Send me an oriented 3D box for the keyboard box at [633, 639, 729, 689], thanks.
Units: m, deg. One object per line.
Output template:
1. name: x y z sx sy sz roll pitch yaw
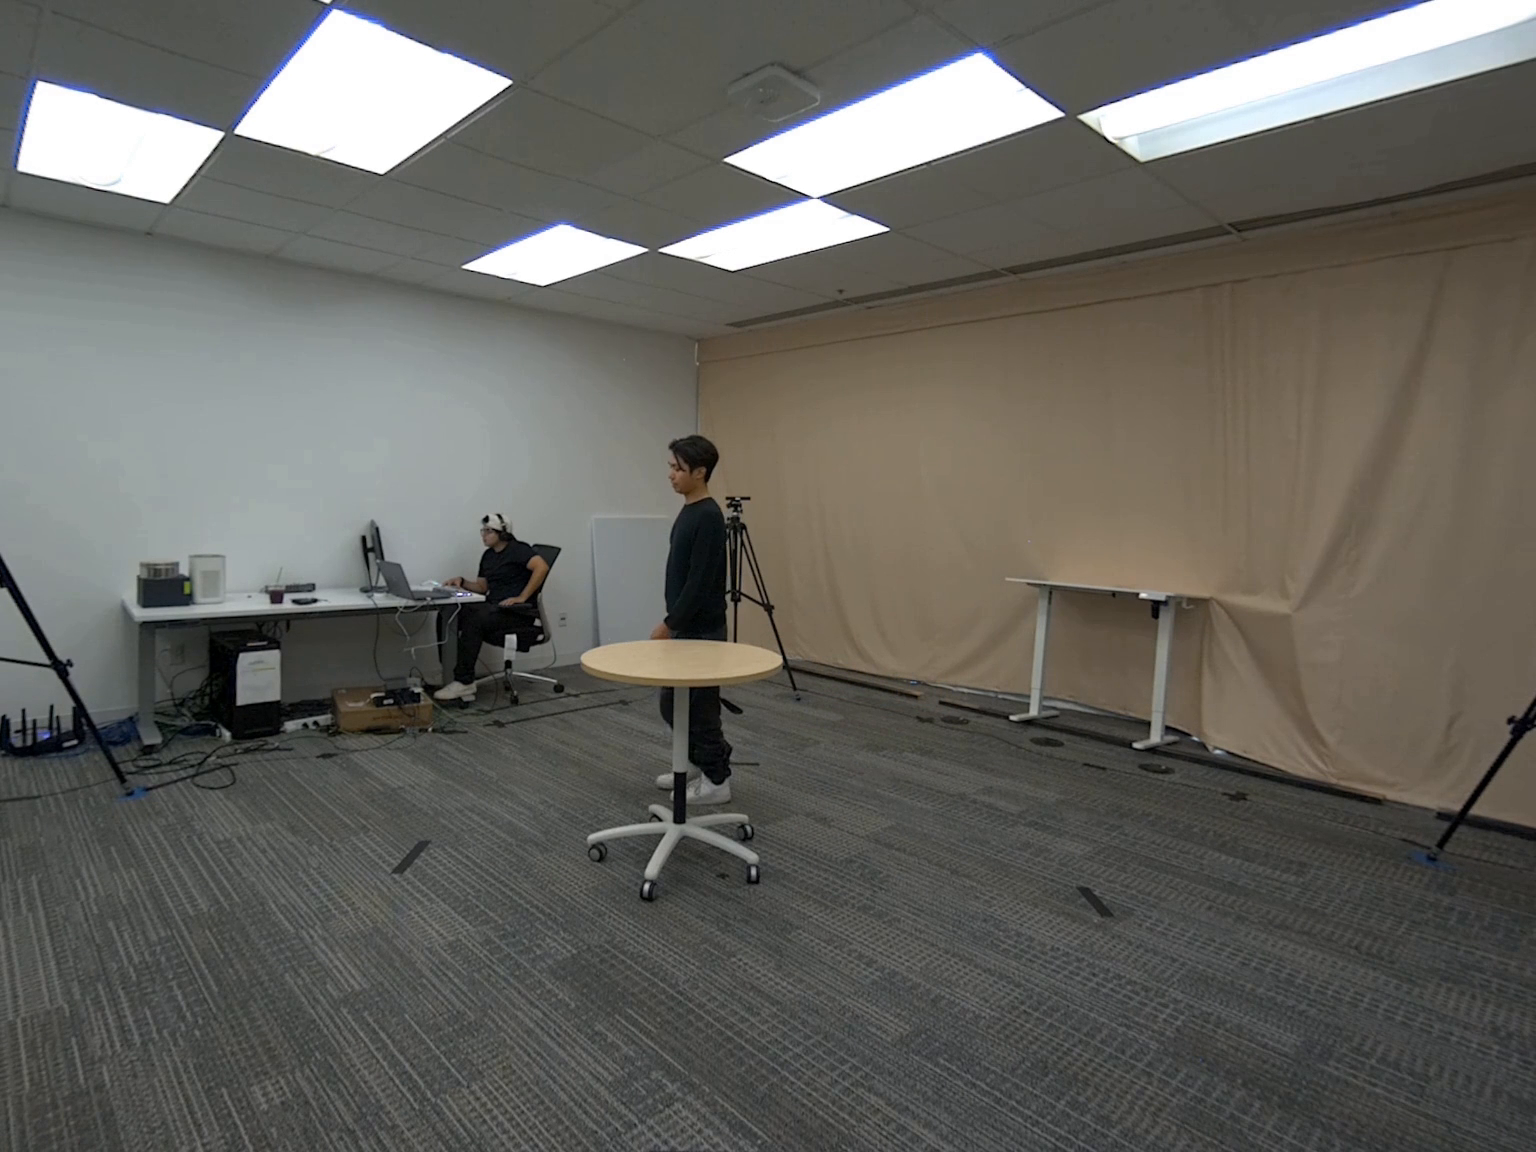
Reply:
1. keyboard box: -0.427 0.405 4.156 0.434 0.174 0.060 -14 9 -10
